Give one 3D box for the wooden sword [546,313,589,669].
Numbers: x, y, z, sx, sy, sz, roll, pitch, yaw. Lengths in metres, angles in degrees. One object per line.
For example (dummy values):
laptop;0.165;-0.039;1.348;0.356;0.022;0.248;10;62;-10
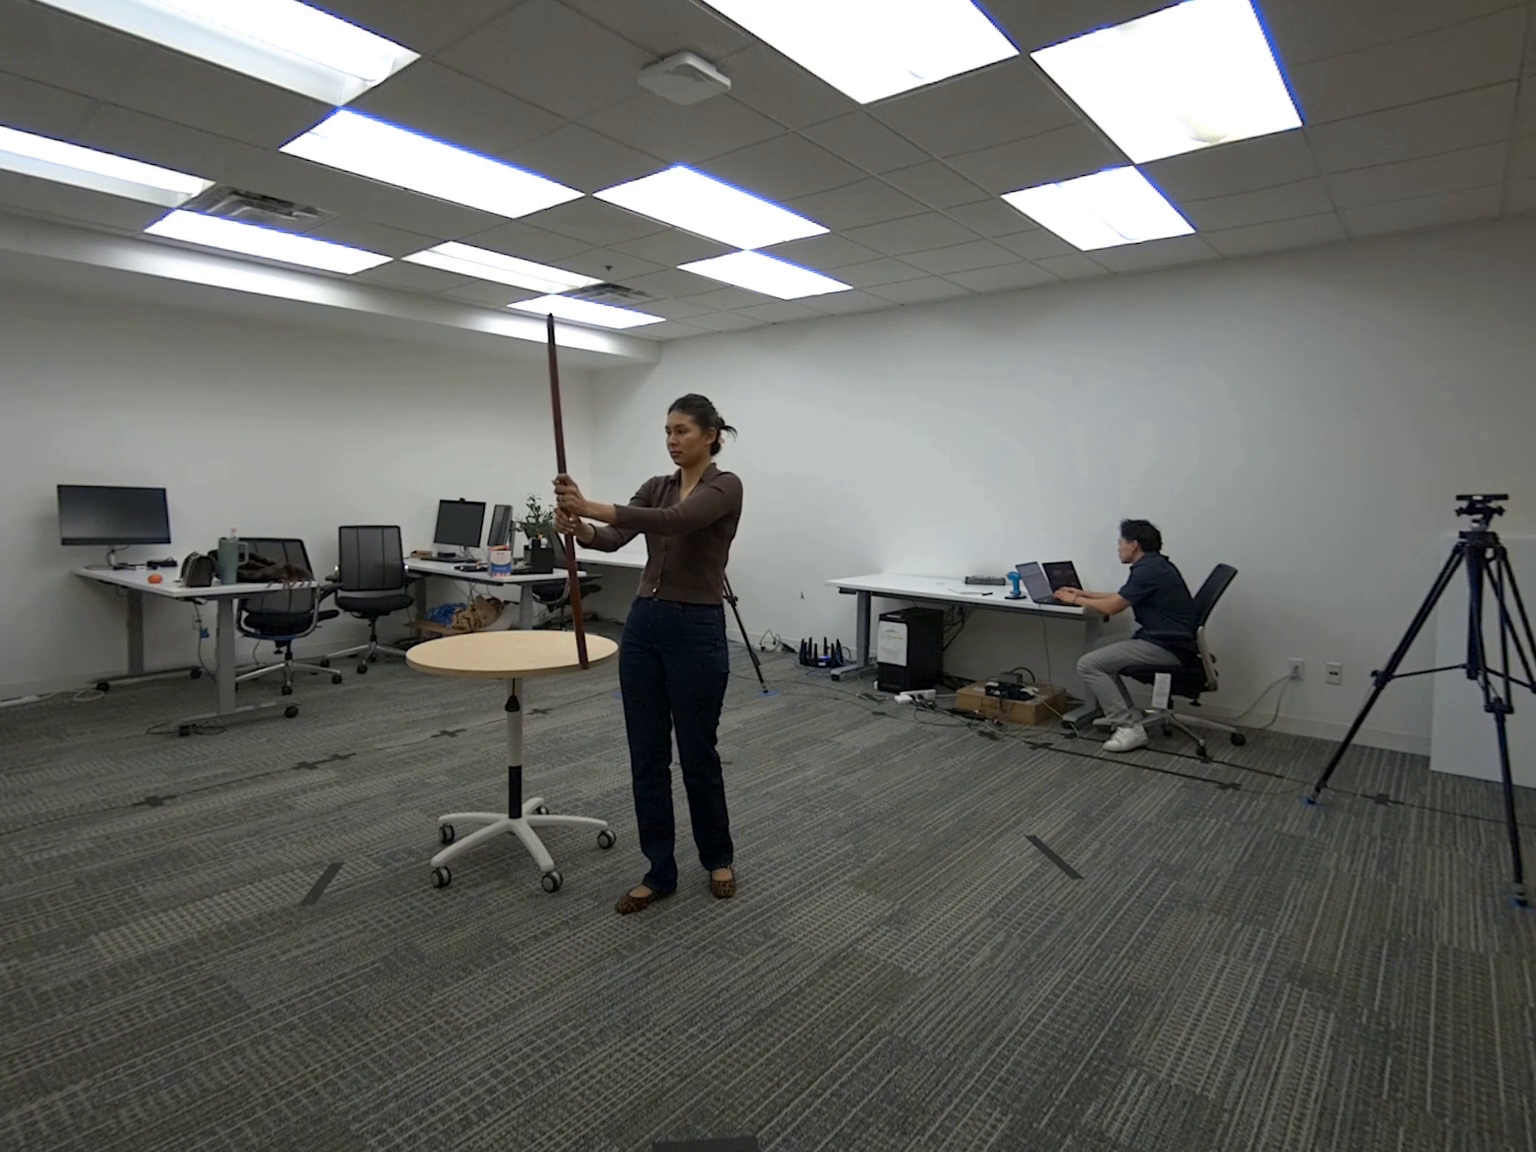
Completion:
wooden sword;-0.593;-0.247;2.434;0.023;1.012;0.053;-11;14;-30
